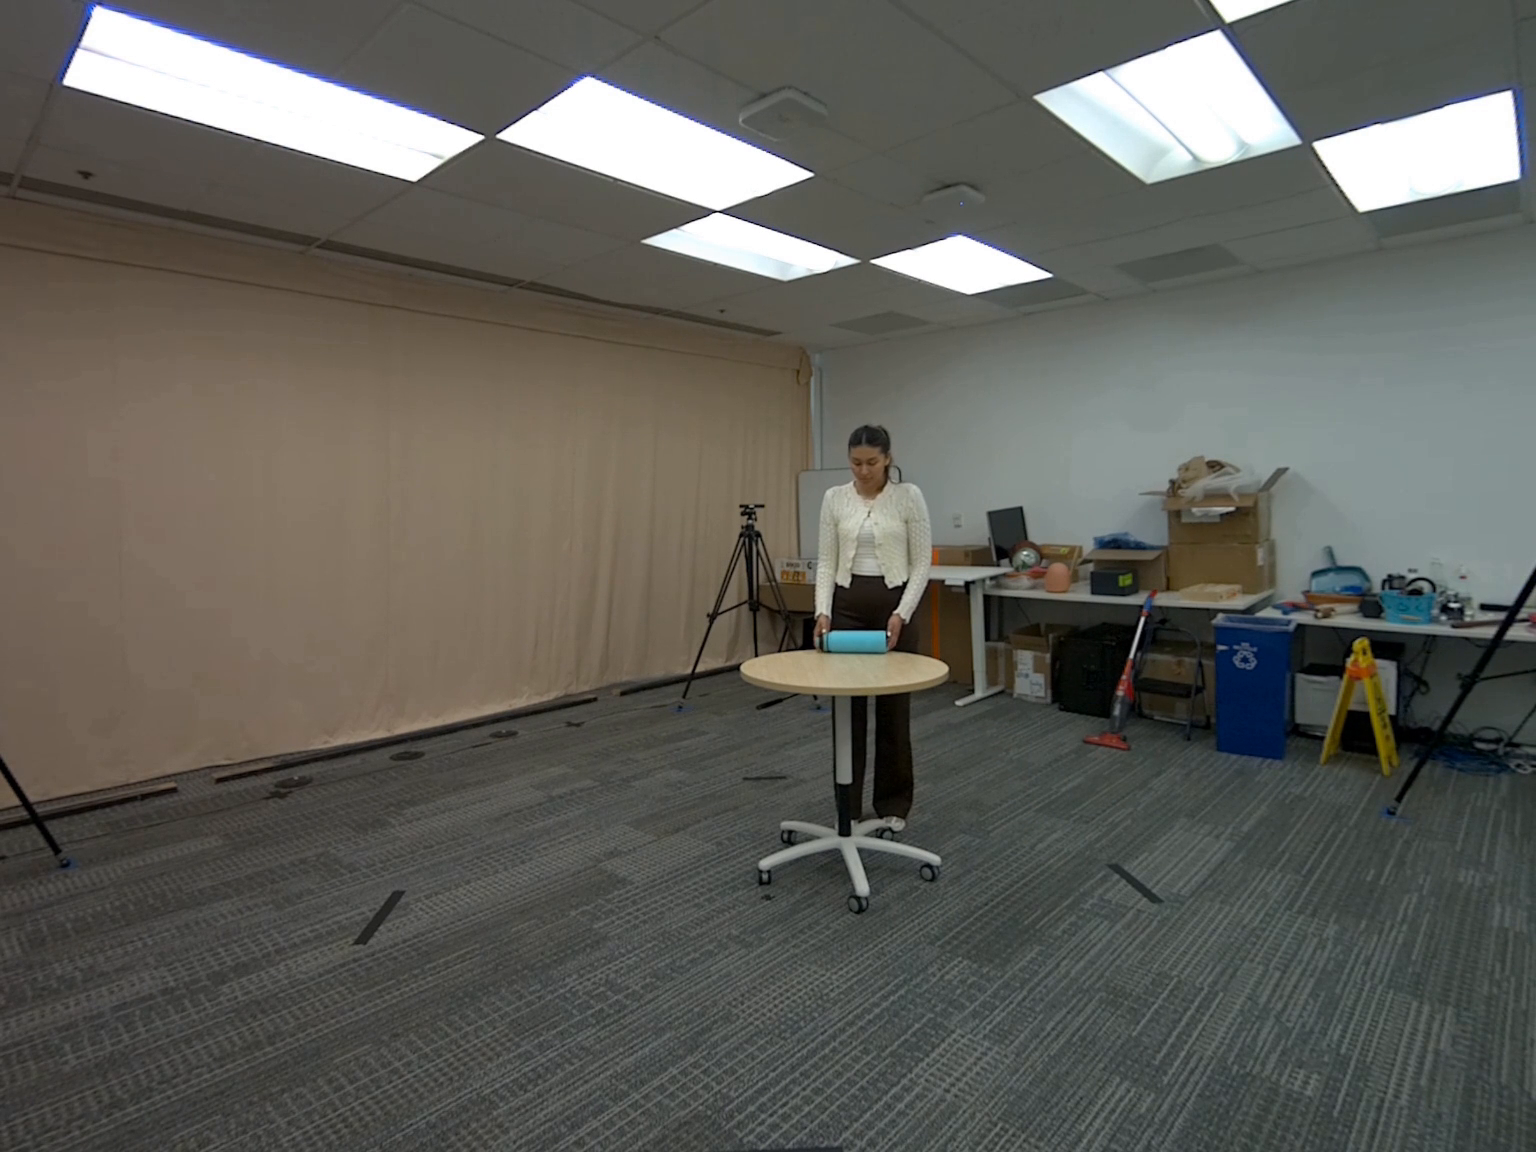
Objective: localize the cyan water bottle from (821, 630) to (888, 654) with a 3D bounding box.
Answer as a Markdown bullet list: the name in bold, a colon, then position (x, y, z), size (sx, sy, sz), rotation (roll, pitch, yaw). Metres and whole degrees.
- **cyan water bottle**: position (0.346, 0.271, 3.442), size (0.288, 0.092, 0.091), rotation (-1, 4, 14)
